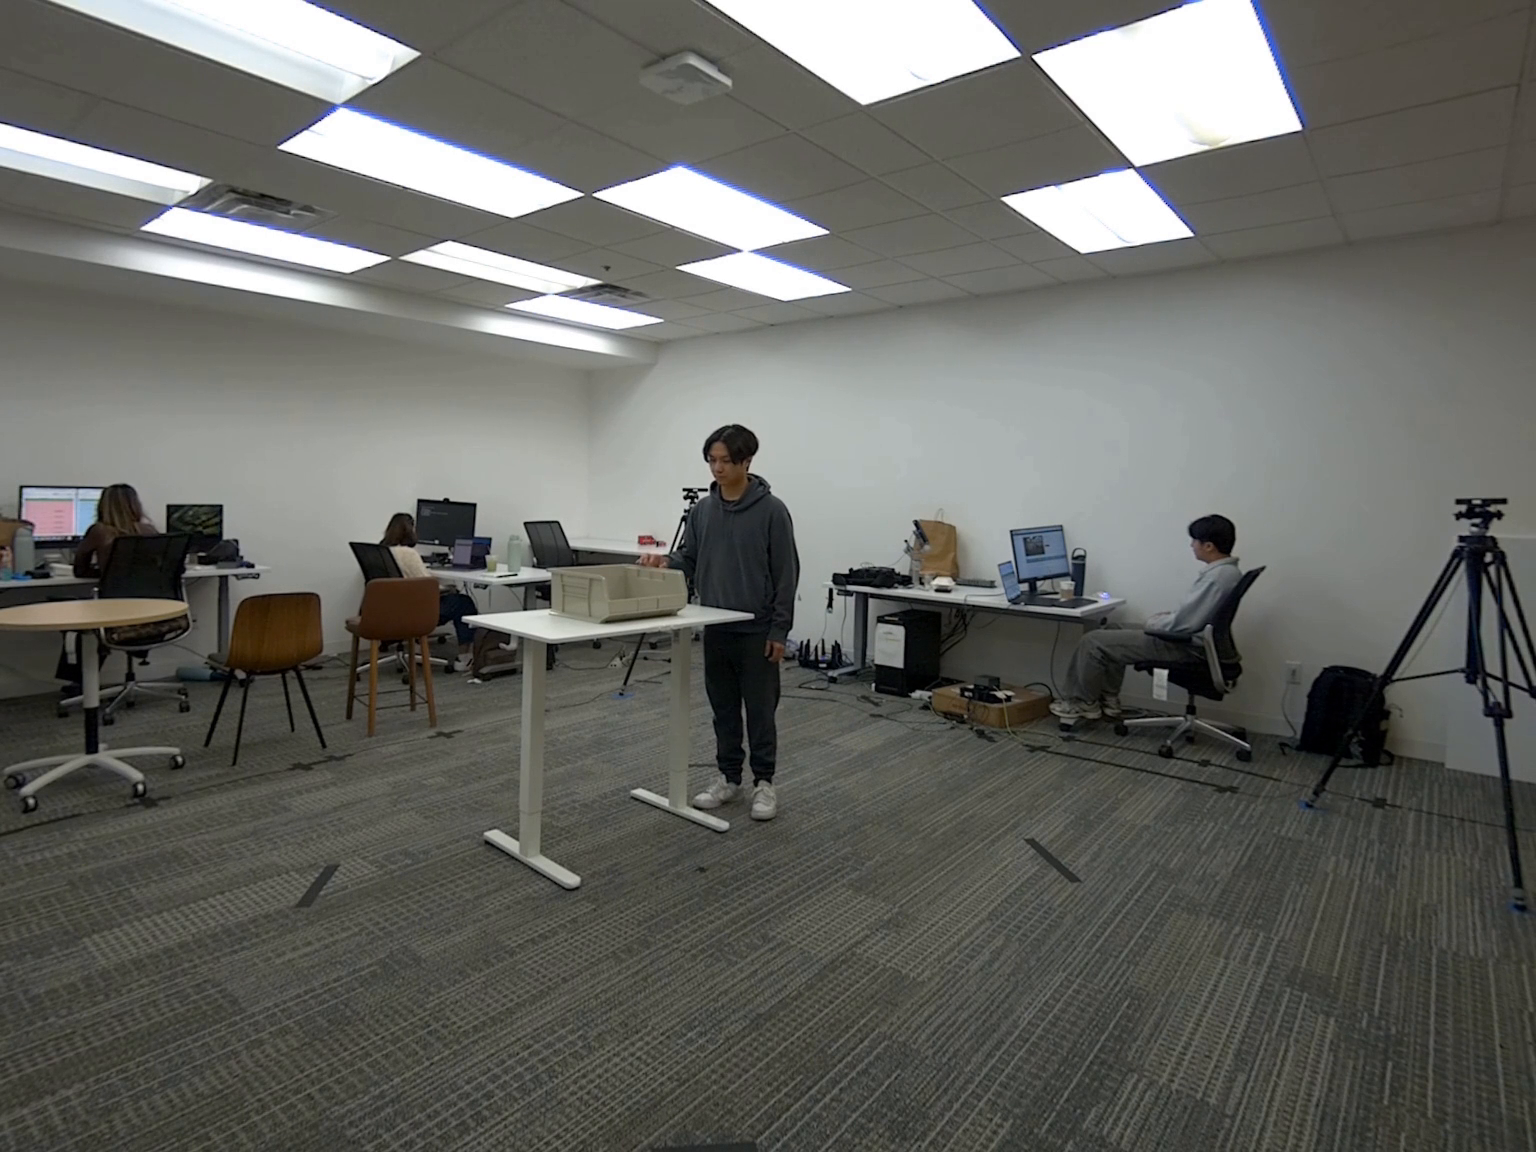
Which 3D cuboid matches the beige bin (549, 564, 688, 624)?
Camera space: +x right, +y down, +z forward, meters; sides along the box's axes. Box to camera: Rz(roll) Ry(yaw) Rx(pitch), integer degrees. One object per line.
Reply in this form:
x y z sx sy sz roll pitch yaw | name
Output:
-0.608 0.064 3.383 0.390 0.188 0.409 5 6 41 | beige bin
